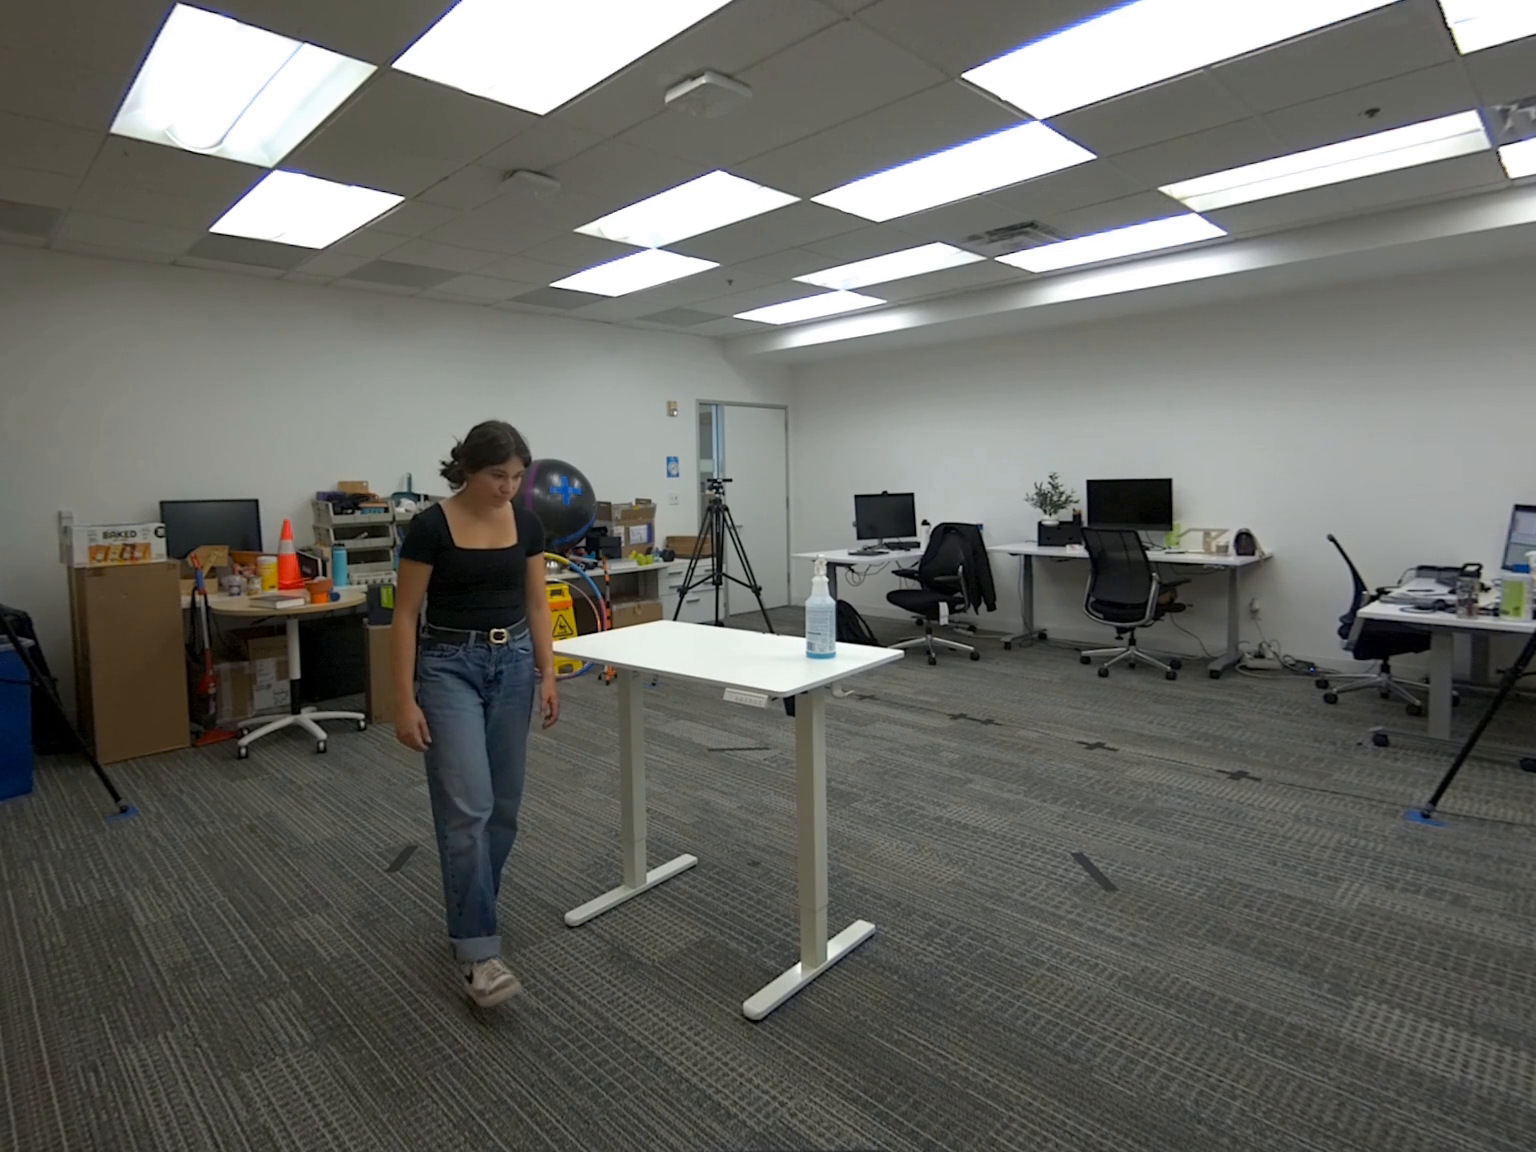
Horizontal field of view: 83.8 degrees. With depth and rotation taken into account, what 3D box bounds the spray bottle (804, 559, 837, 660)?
[{"bbox_3d":[0.157,0.089,2.454,0.089,0.296,0.088,3,6,22],"label":"spray bottle"}]
